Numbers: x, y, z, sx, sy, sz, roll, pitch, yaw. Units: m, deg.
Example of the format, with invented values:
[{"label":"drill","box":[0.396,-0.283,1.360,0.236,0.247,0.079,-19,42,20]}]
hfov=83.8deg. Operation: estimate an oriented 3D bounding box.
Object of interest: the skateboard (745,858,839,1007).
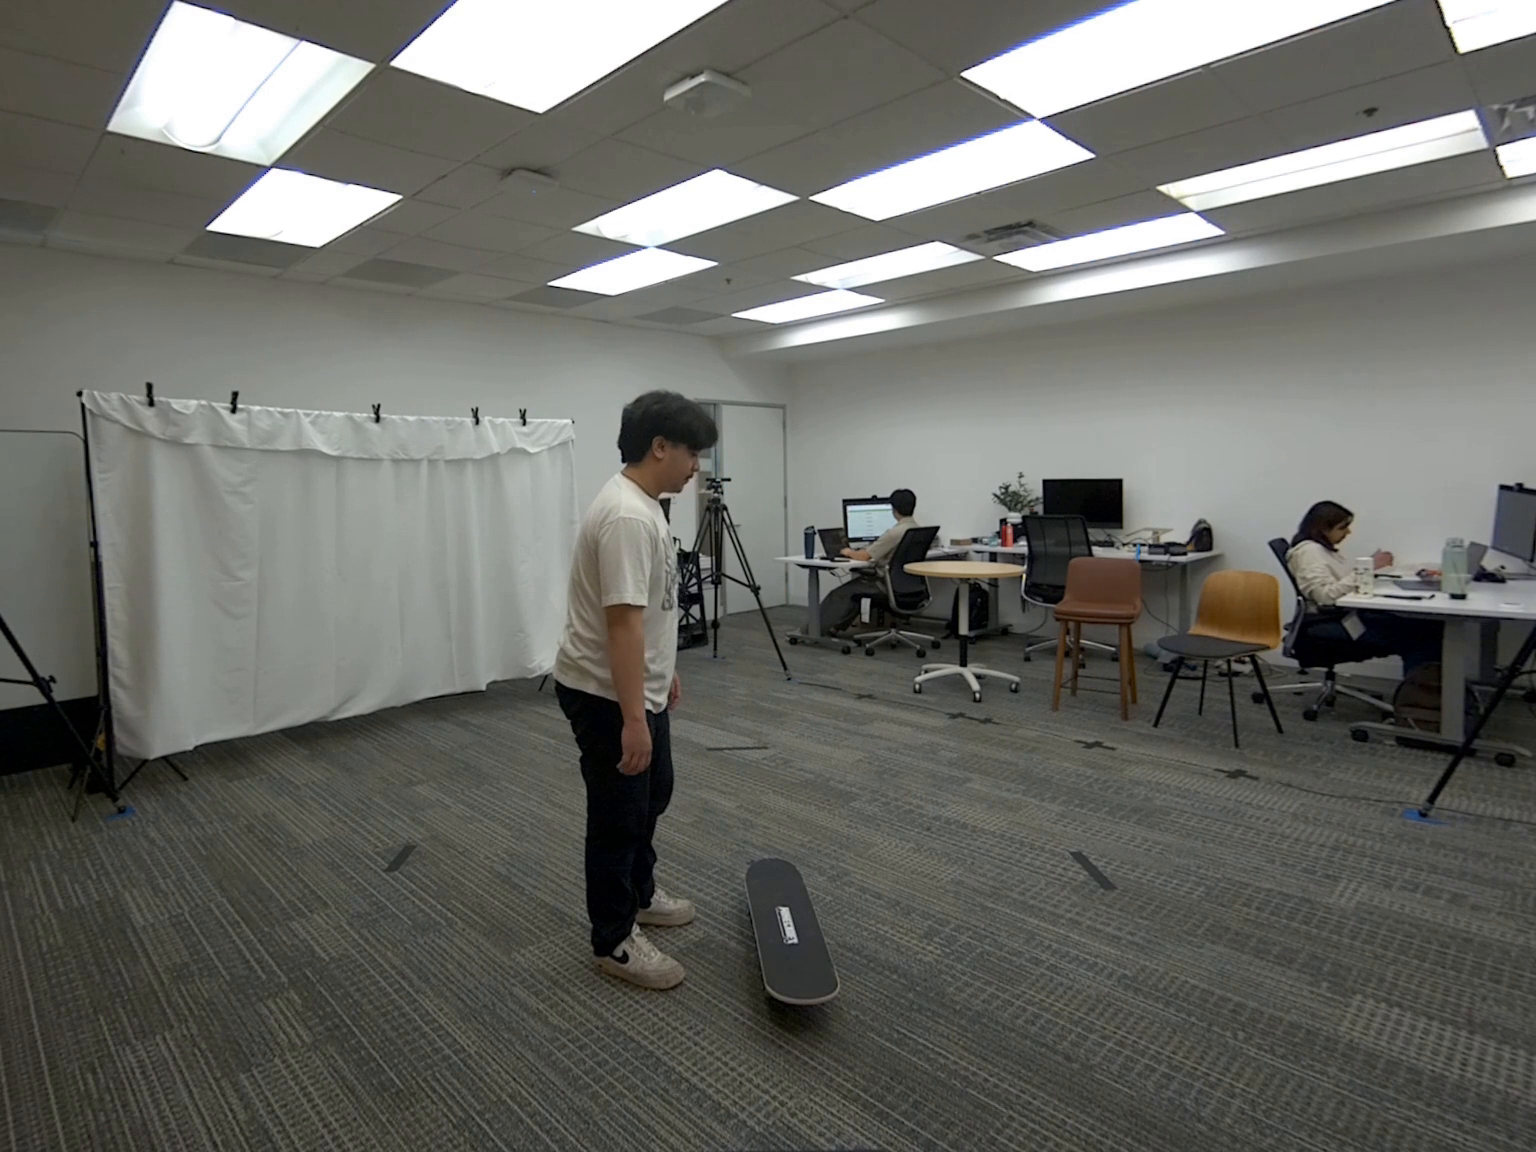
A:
[{"label":"skateboard","box":[0.060,1.051,2.511,0.192,0.110,0.793,-1,6,-7]}]
